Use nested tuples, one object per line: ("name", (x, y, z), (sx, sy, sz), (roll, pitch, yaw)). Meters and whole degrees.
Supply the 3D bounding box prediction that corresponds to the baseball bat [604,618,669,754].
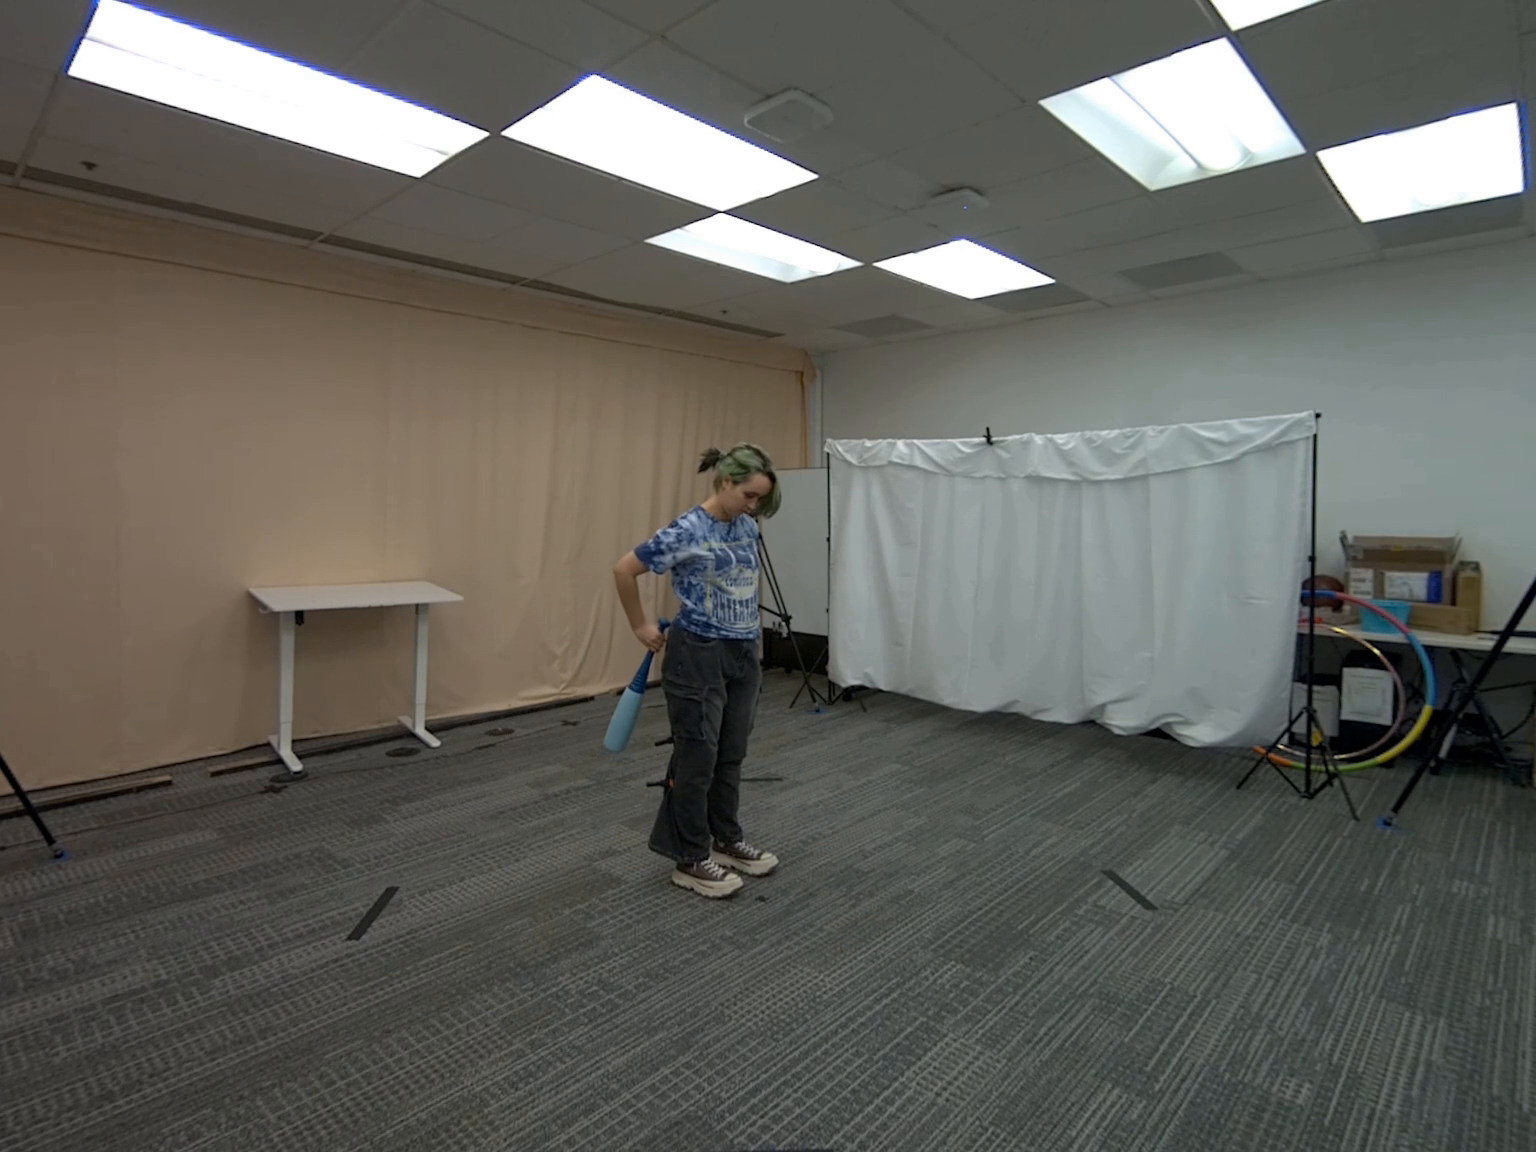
("baseball bat", (-0.478, 0.408, 3.151), (0.088, 0.542, 0.090), (22, 8, -5))
